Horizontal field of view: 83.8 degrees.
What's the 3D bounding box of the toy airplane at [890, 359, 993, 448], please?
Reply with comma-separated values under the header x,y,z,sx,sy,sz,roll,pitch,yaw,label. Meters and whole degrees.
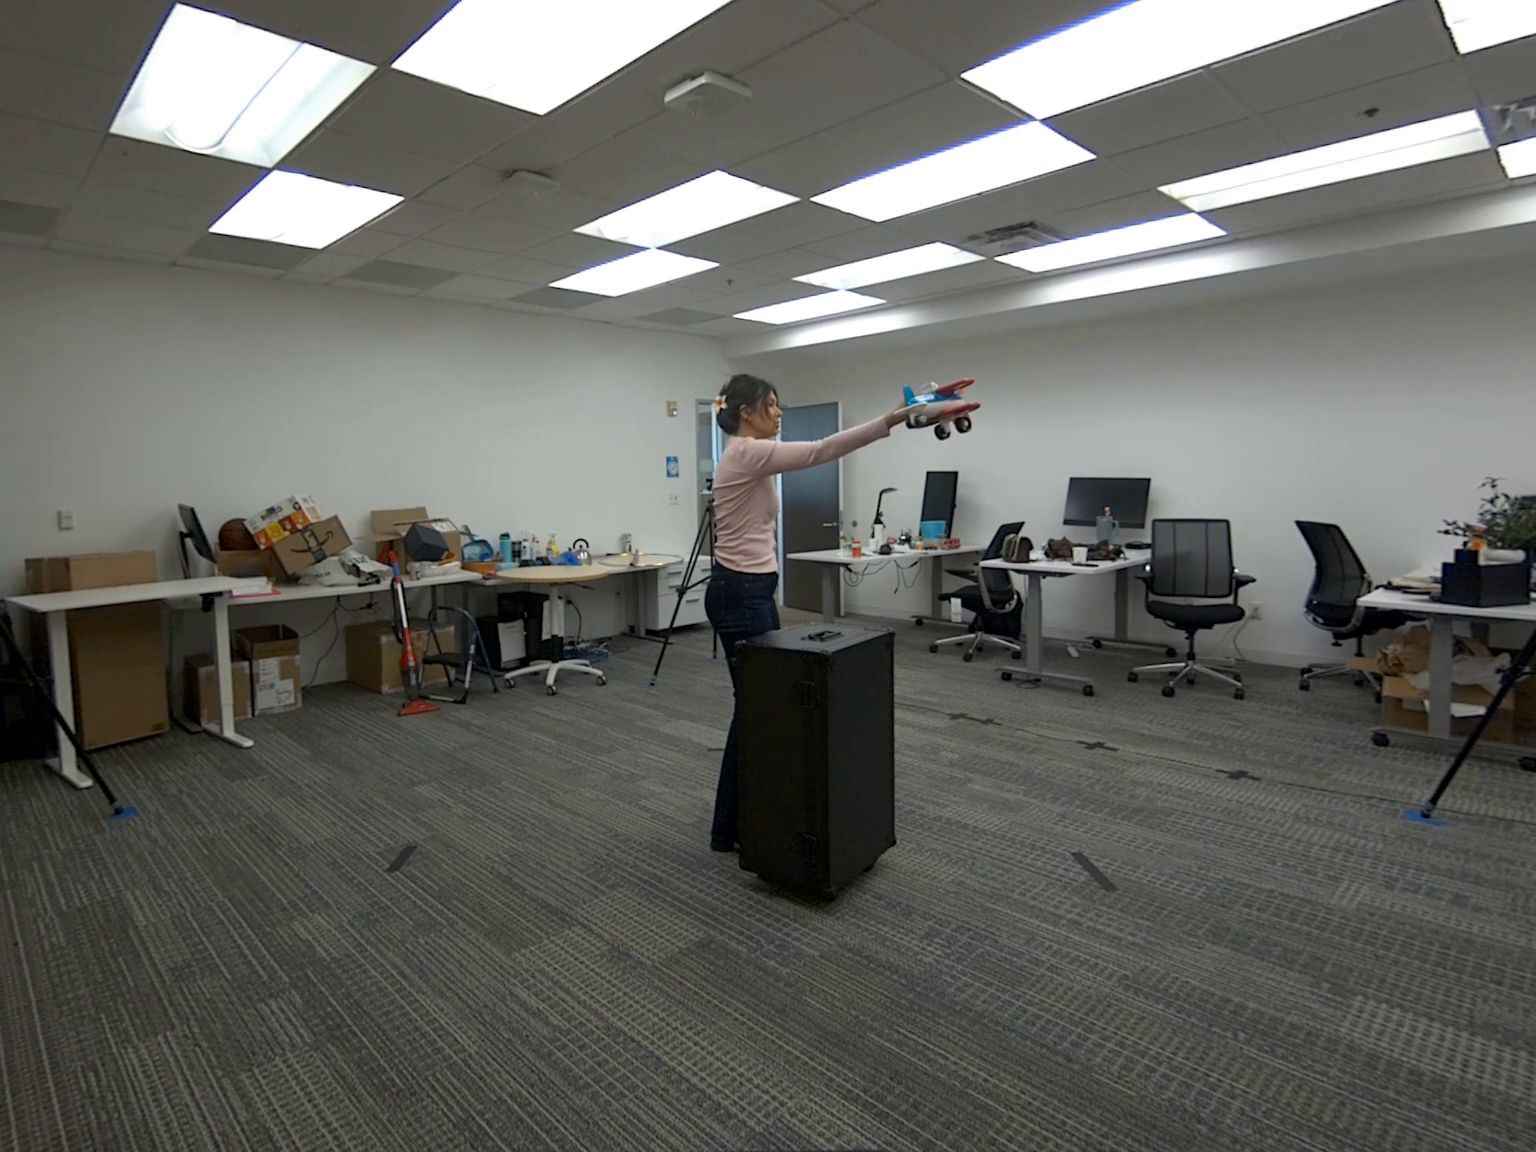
x,y,z,sx,sy,sz,roll,pitch,yaw,label
0.544,-0.535,2.684,0.256,0.158,0.251,-7,-11,24,toy airplane
